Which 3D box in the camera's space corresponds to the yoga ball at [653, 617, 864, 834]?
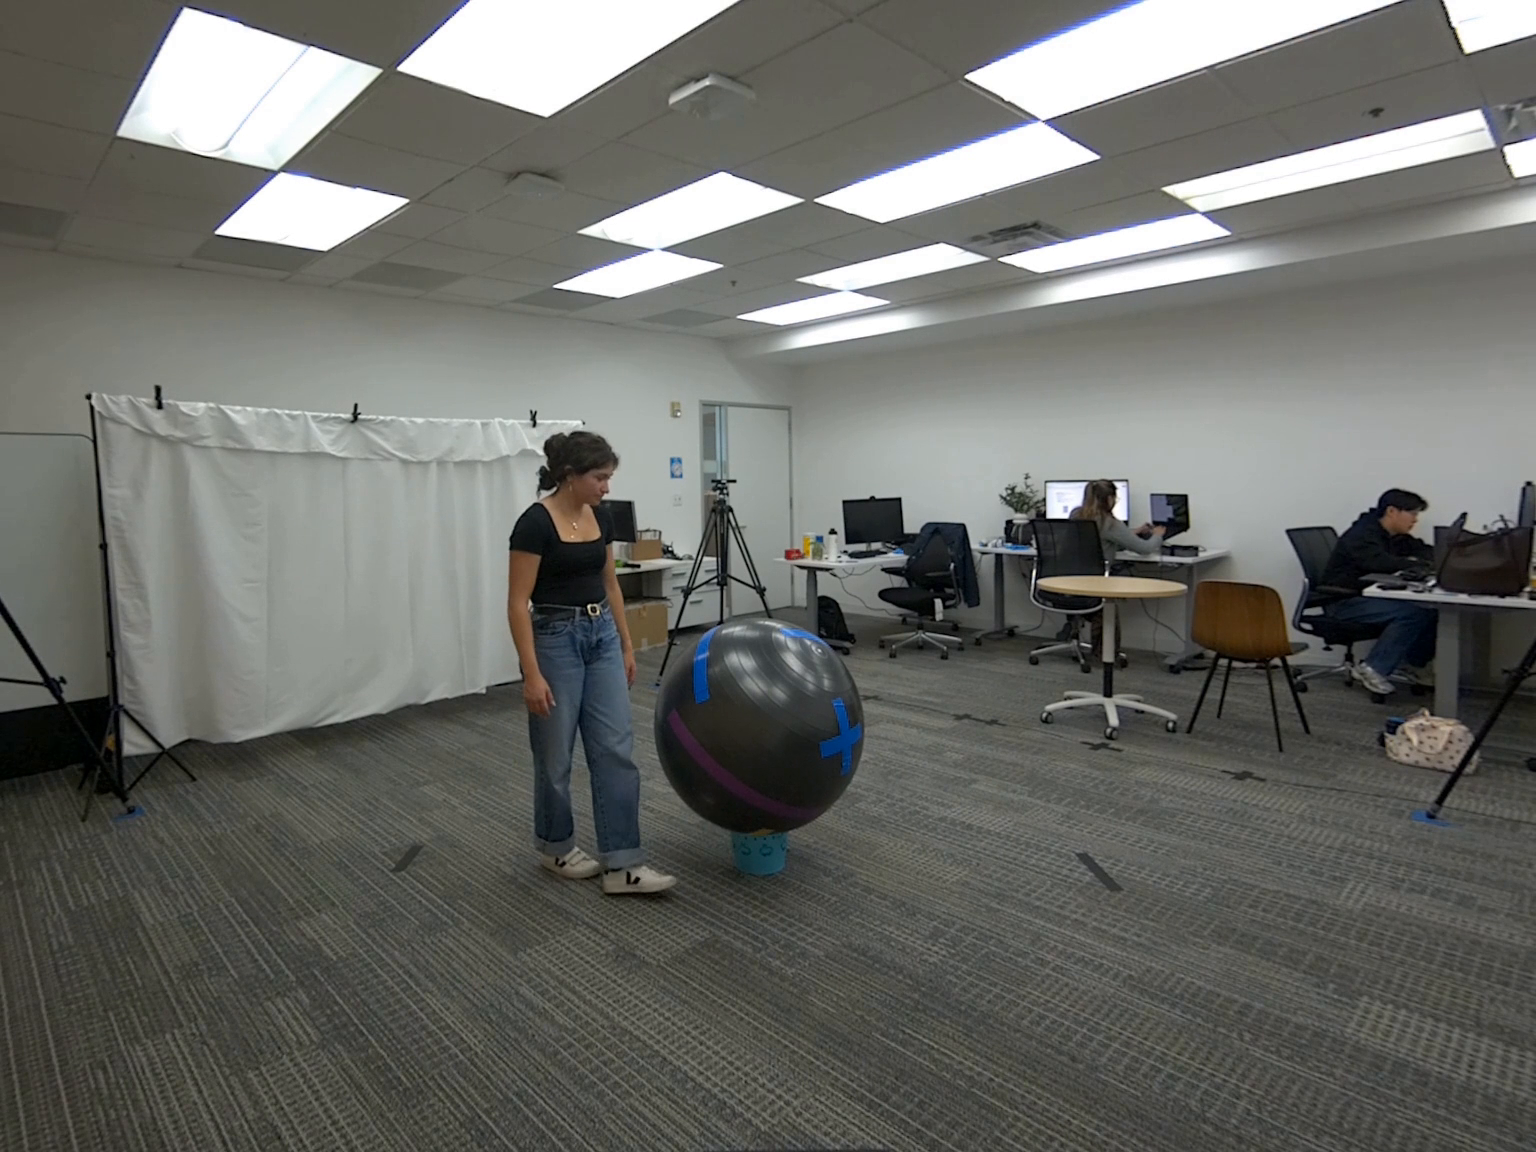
[{"bbox_3d":[-0.031,0.537,3.088,0.757,0.755,0.762,-1,5,-2],"label":"yoga ball"}]
